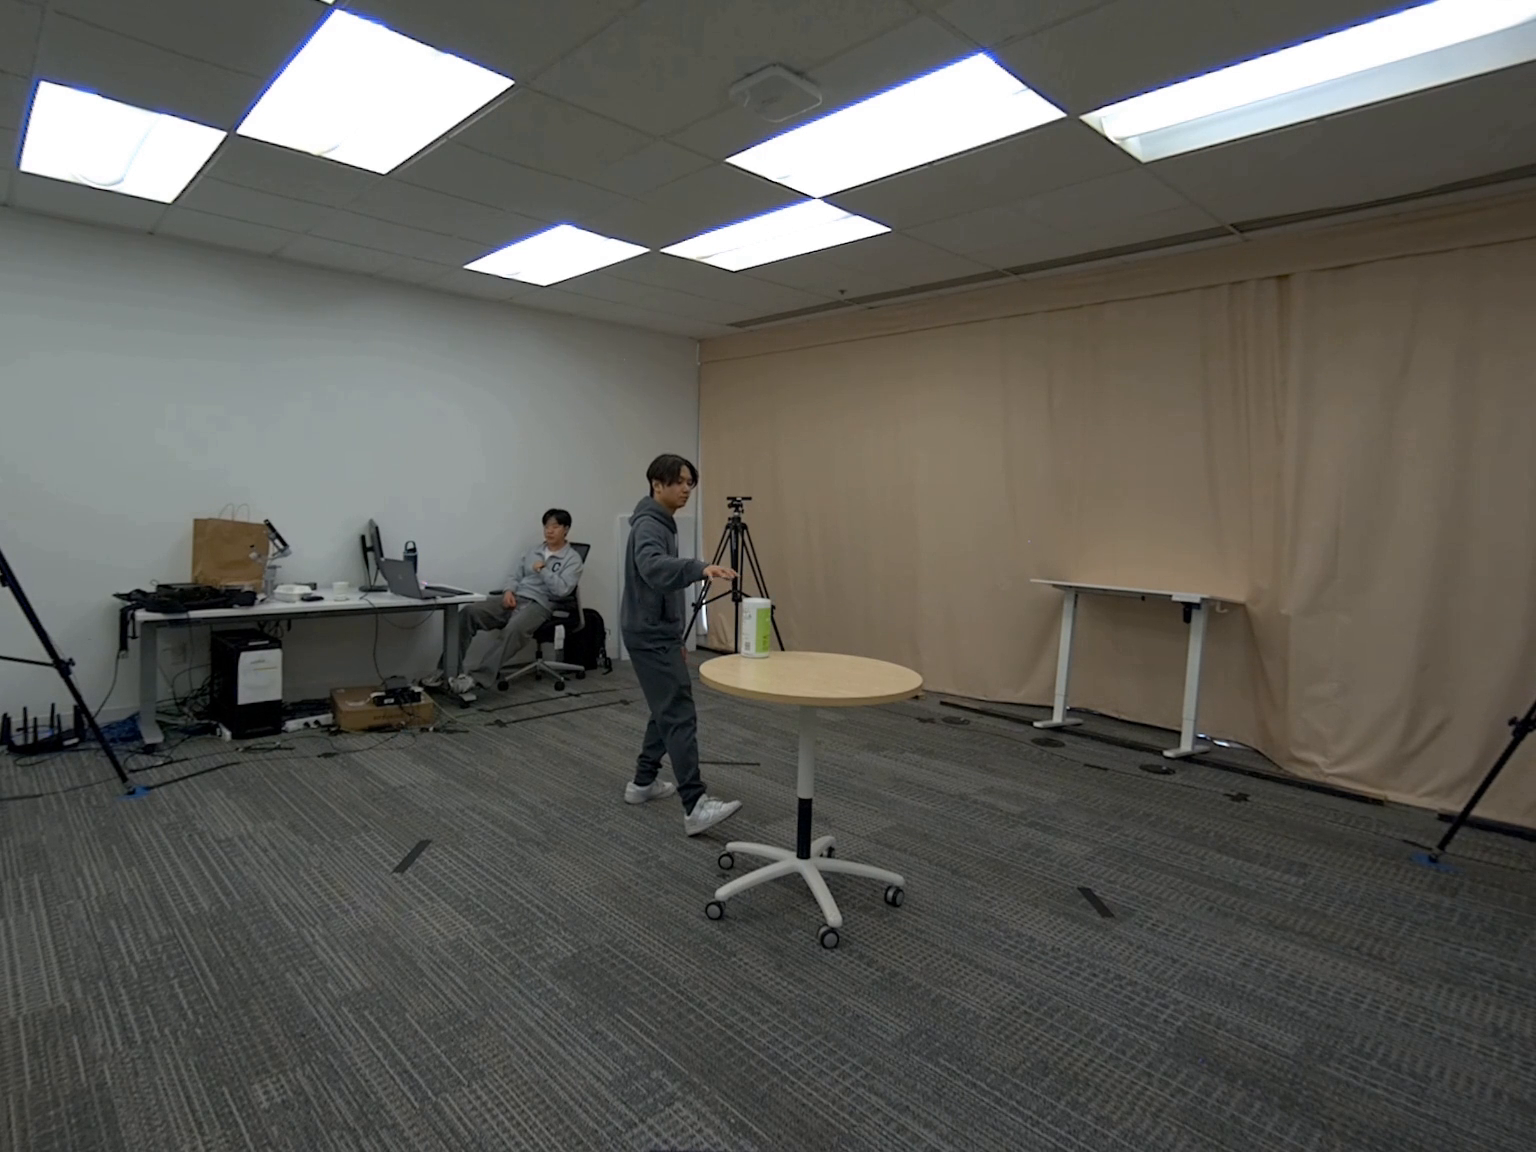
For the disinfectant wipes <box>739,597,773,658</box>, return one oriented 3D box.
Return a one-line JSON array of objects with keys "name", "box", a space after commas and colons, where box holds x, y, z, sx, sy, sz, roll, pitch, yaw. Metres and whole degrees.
[{"name": "disinfectant wipes", "box": [-0.054, 0.198, 3.174, 0.118, 0.217, 0.118, 0, 2, -1]}]
